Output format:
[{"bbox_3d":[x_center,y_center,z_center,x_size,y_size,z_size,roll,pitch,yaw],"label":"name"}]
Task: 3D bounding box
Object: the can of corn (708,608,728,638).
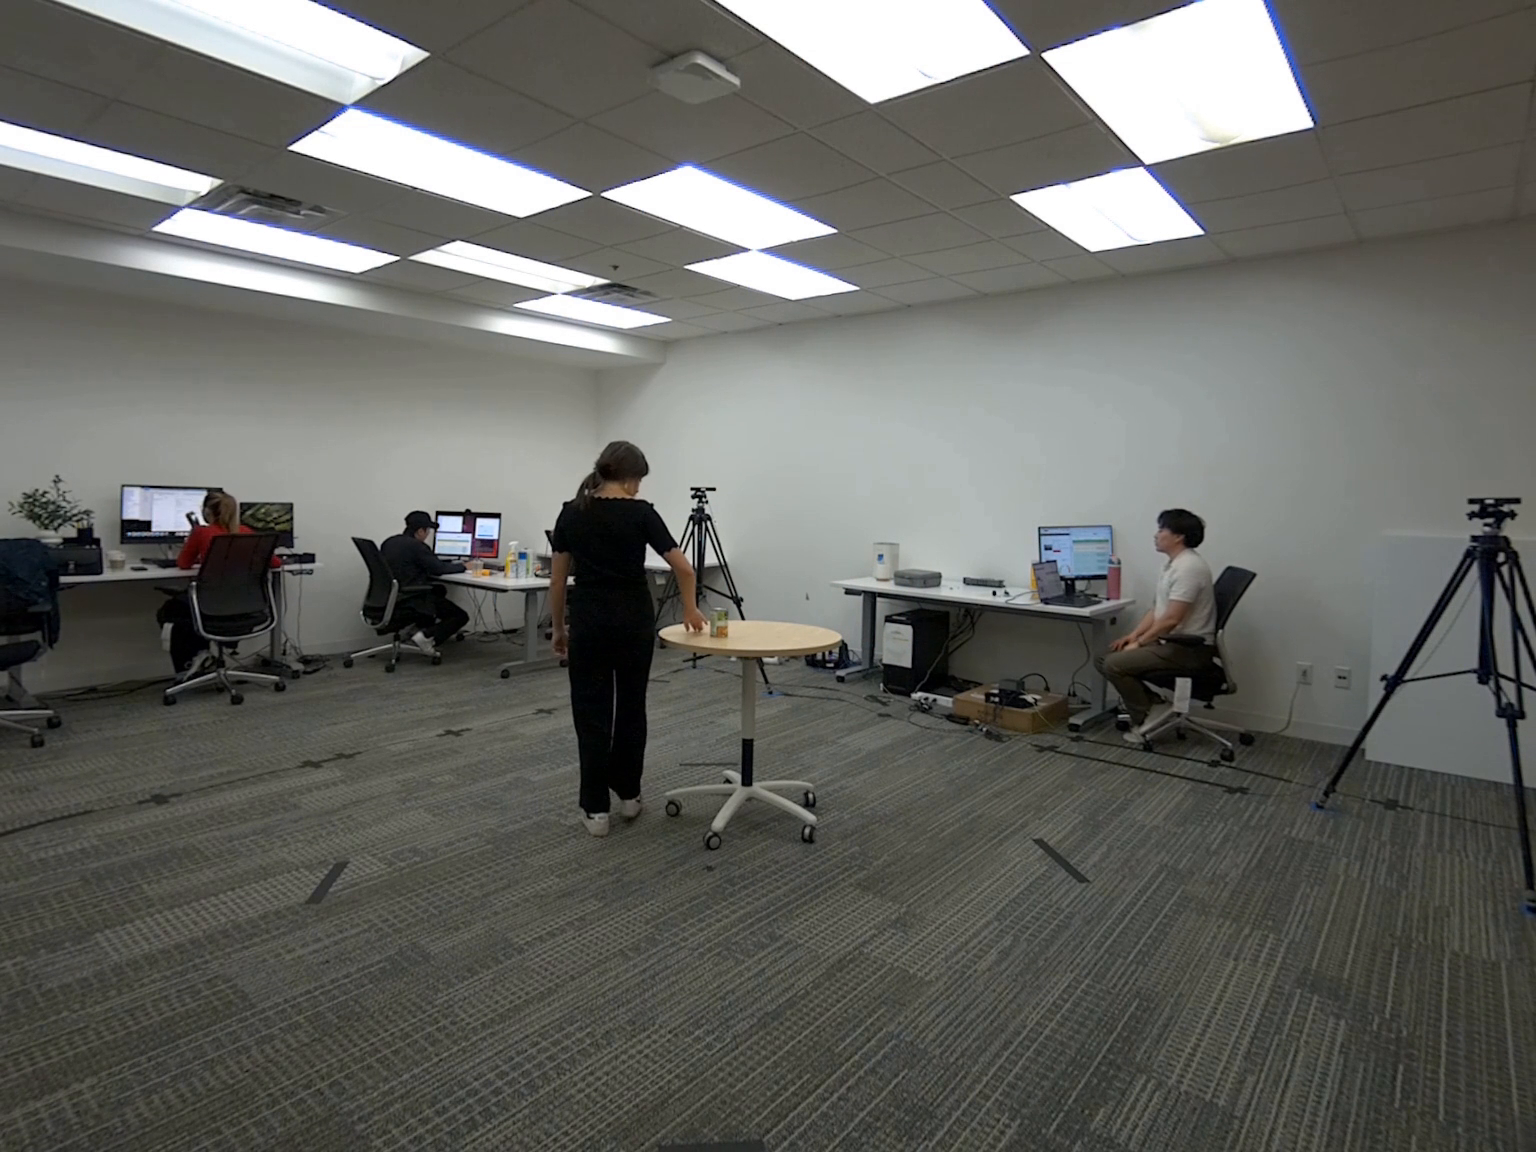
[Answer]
[{"bbox_3d":[-0.218,0.193,3.497,0.074,0.111,0.074,-1,2,-2],"label":"can of corn"}]
